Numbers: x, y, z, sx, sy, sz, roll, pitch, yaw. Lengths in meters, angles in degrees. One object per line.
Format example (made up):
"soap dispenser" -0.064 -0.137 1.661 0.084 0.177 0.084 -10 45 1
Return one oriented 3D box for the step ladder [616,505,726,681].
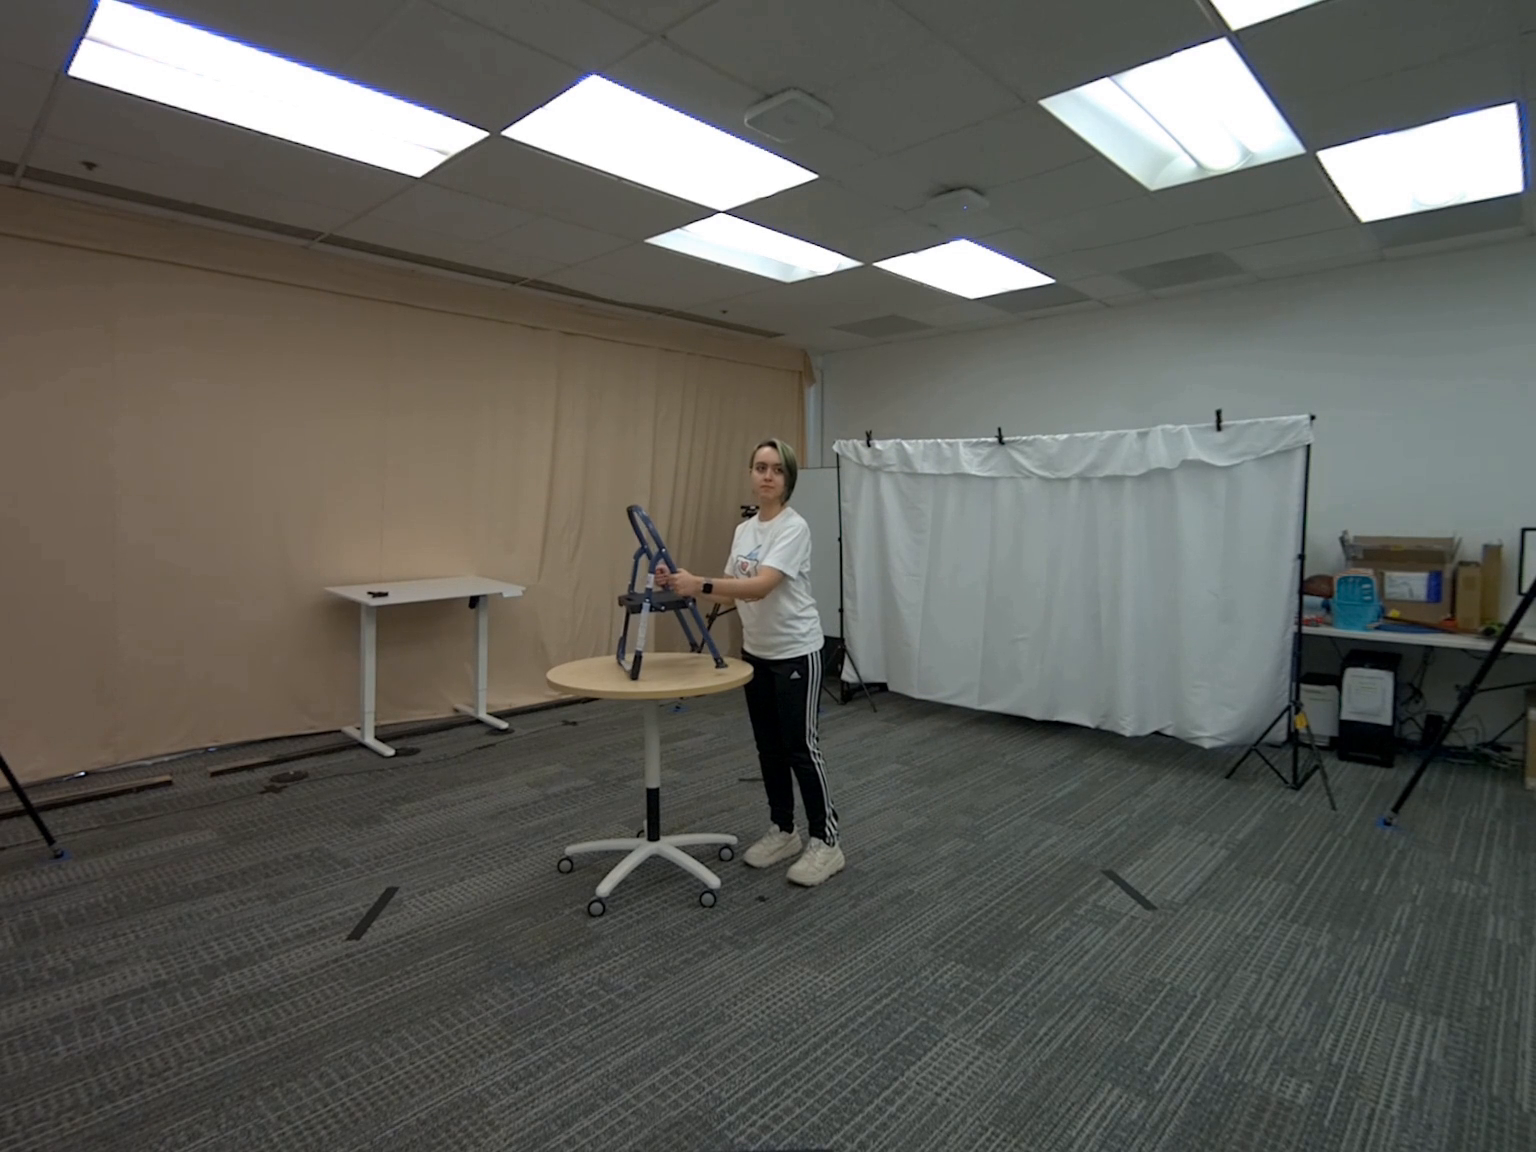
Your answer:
"step ladder" -0.401 0.034 3.149 0.344 0.605 0.438 -6 3 -16
